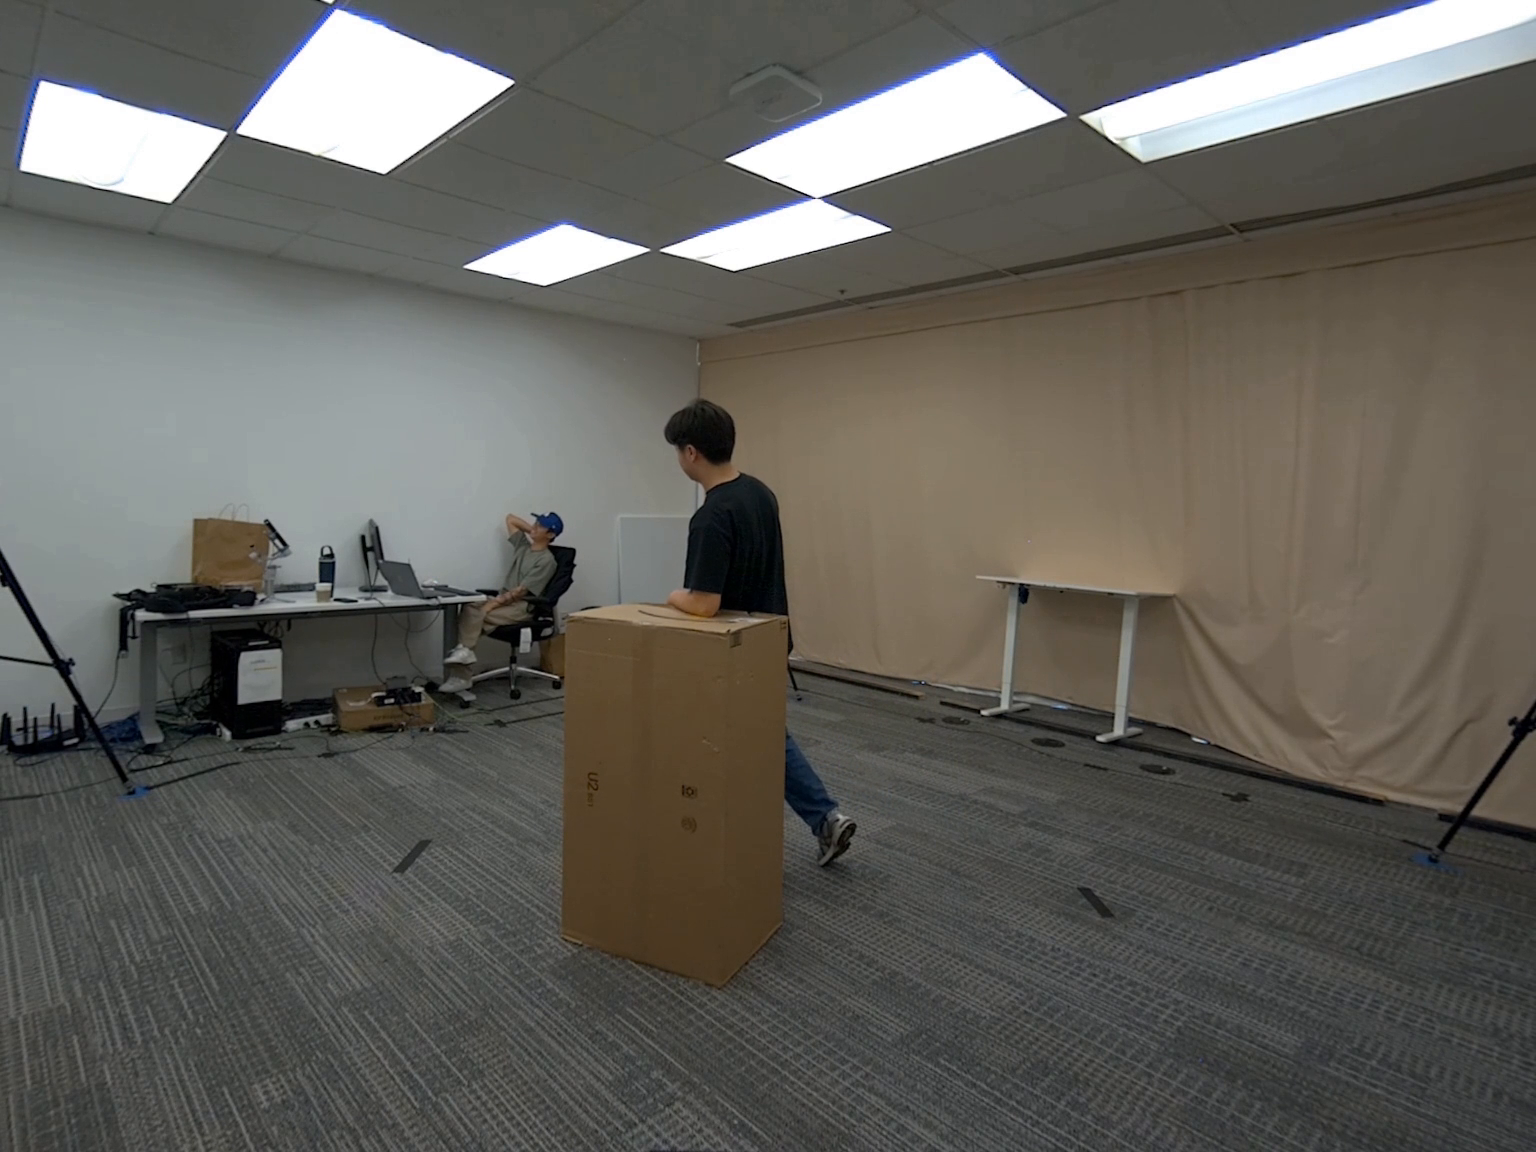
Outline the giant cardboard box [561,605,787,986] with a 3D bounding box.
[{"bbox_3d":[-0.298,0.632,2.673,0.596,1.025,0.438,3,3,28],"label":"giant cardboard box"}]
